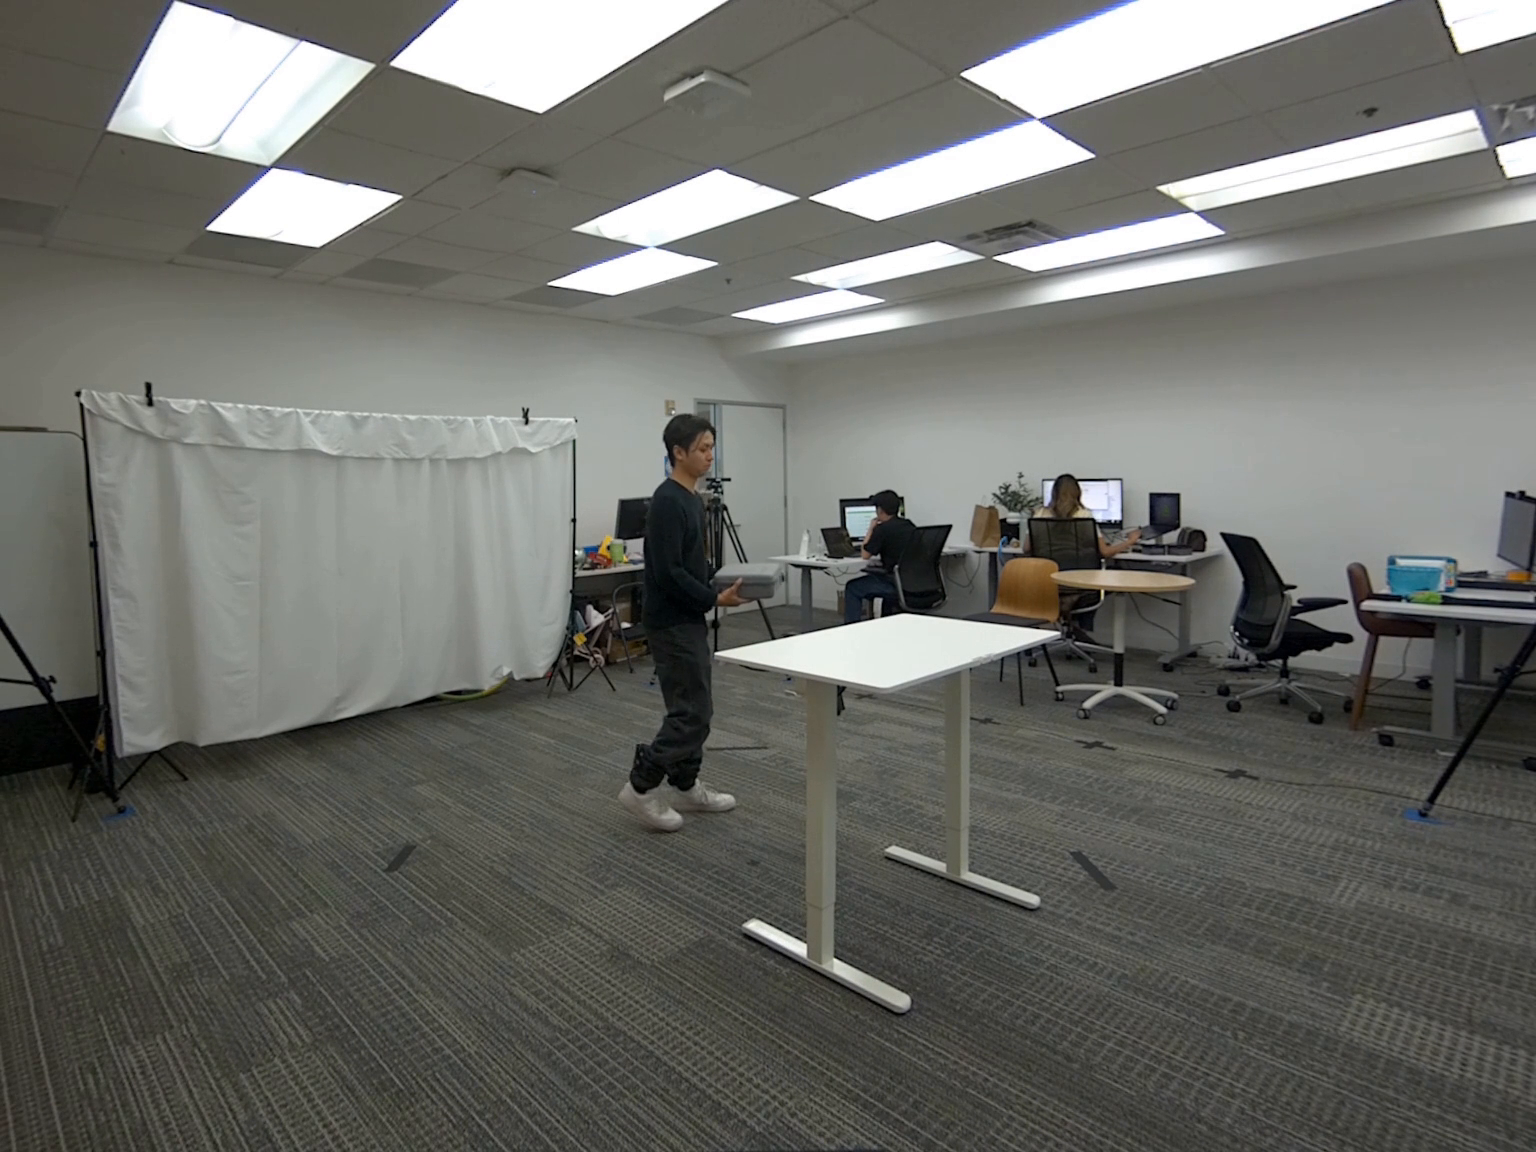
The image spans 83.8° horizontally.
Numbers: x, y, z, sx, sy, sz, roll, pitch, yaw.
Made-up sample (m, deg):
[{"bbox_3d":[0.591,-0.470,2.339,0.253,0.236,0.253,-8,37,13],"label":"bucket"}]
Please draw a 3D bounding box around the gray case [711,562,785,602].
[{"bbox_3d":[-0.089,0.019,3.518,0.261,0.103,0.259,1,11,16],"label":"gray case"}]
